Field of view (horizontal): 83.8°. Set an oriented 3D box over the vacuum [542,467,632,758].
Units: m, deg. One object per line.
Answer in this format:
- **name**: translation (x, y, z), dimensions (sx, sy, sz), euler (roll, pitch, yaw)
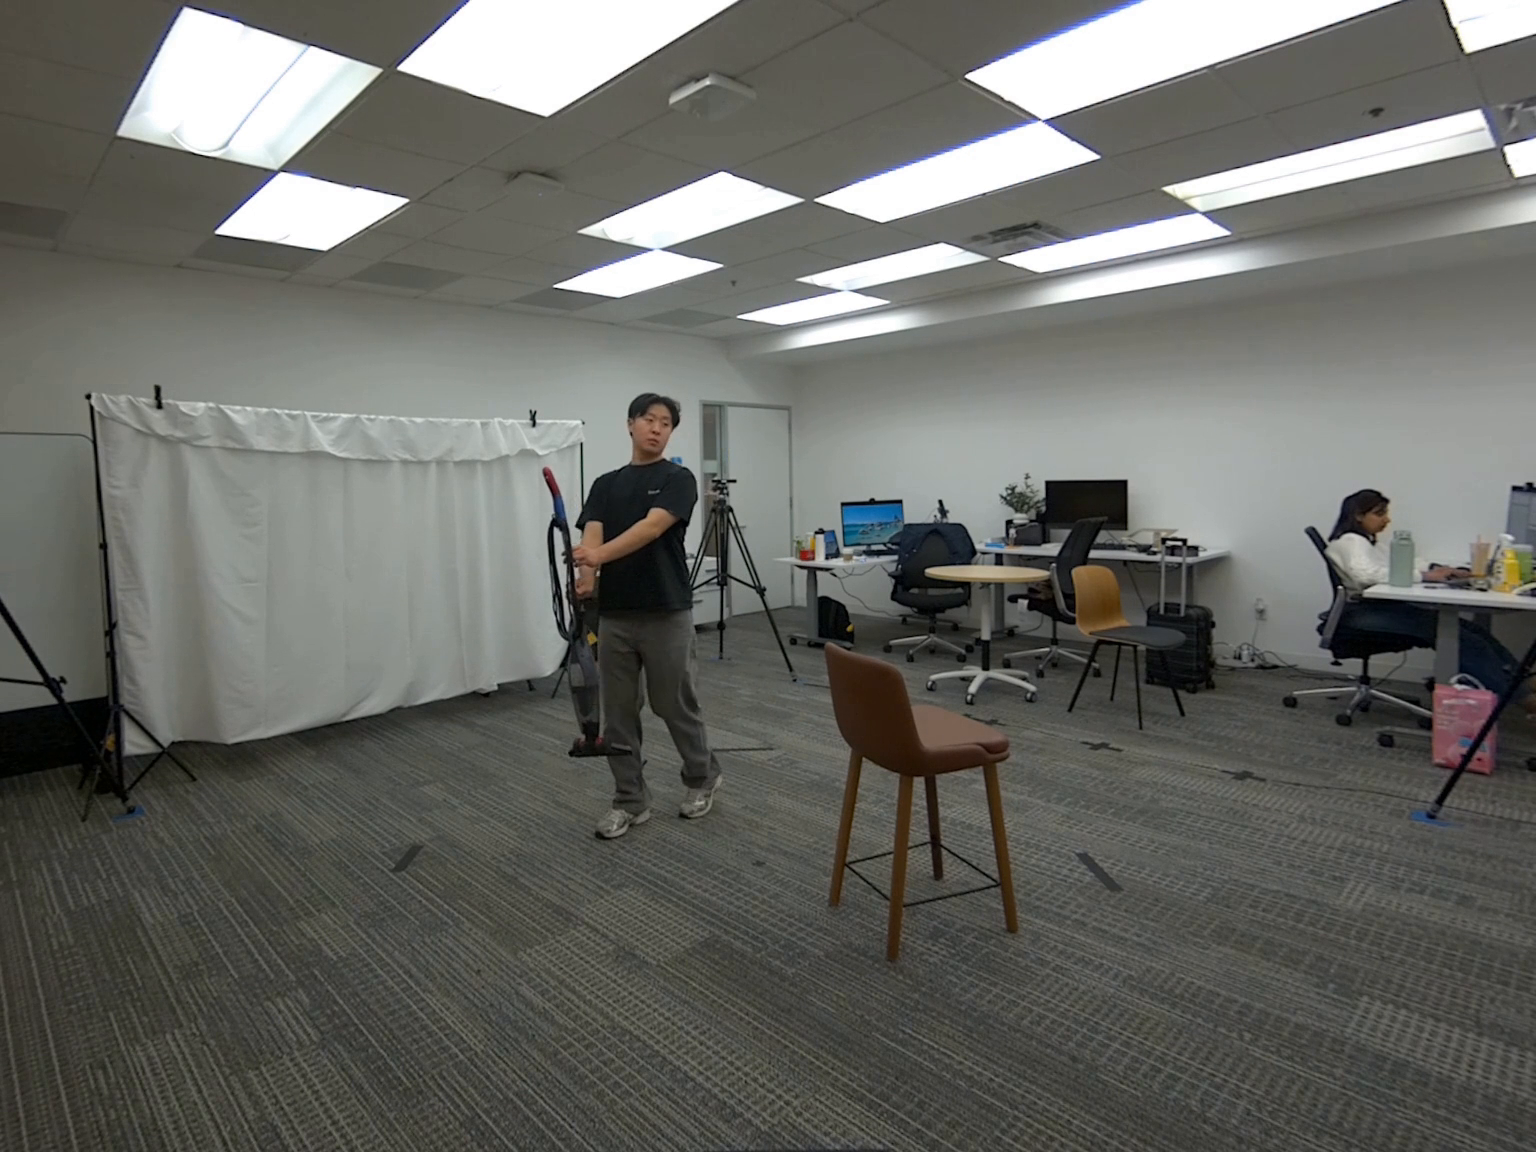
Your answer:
- **vacuum**: translation (-0.698, 0.142, 3.062), dimensions (0.258, 1.038, 0.142), euler (-2, 12, 28)
